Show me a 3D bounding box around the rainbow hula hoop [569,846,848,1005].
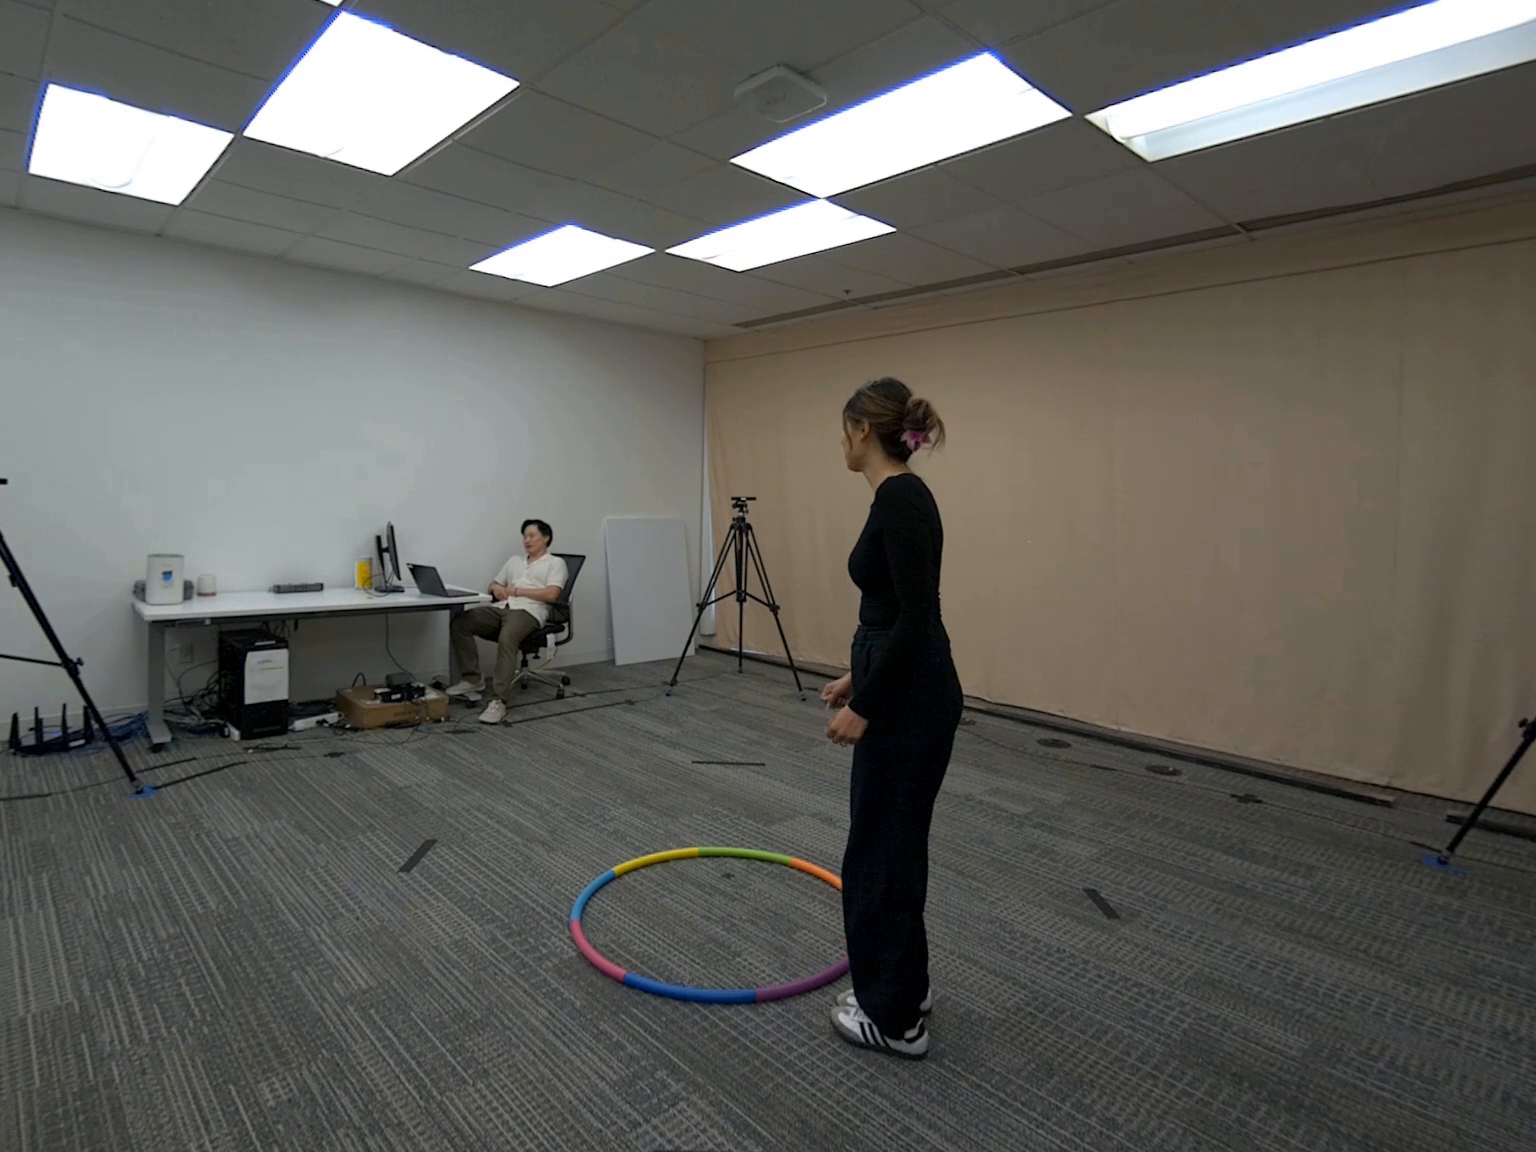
[{"bbox_3d":[-0.162,1.107,2.799,0.978,0.035,0.982,1,5,-1],"label":"rainbow hula hoop"}]
